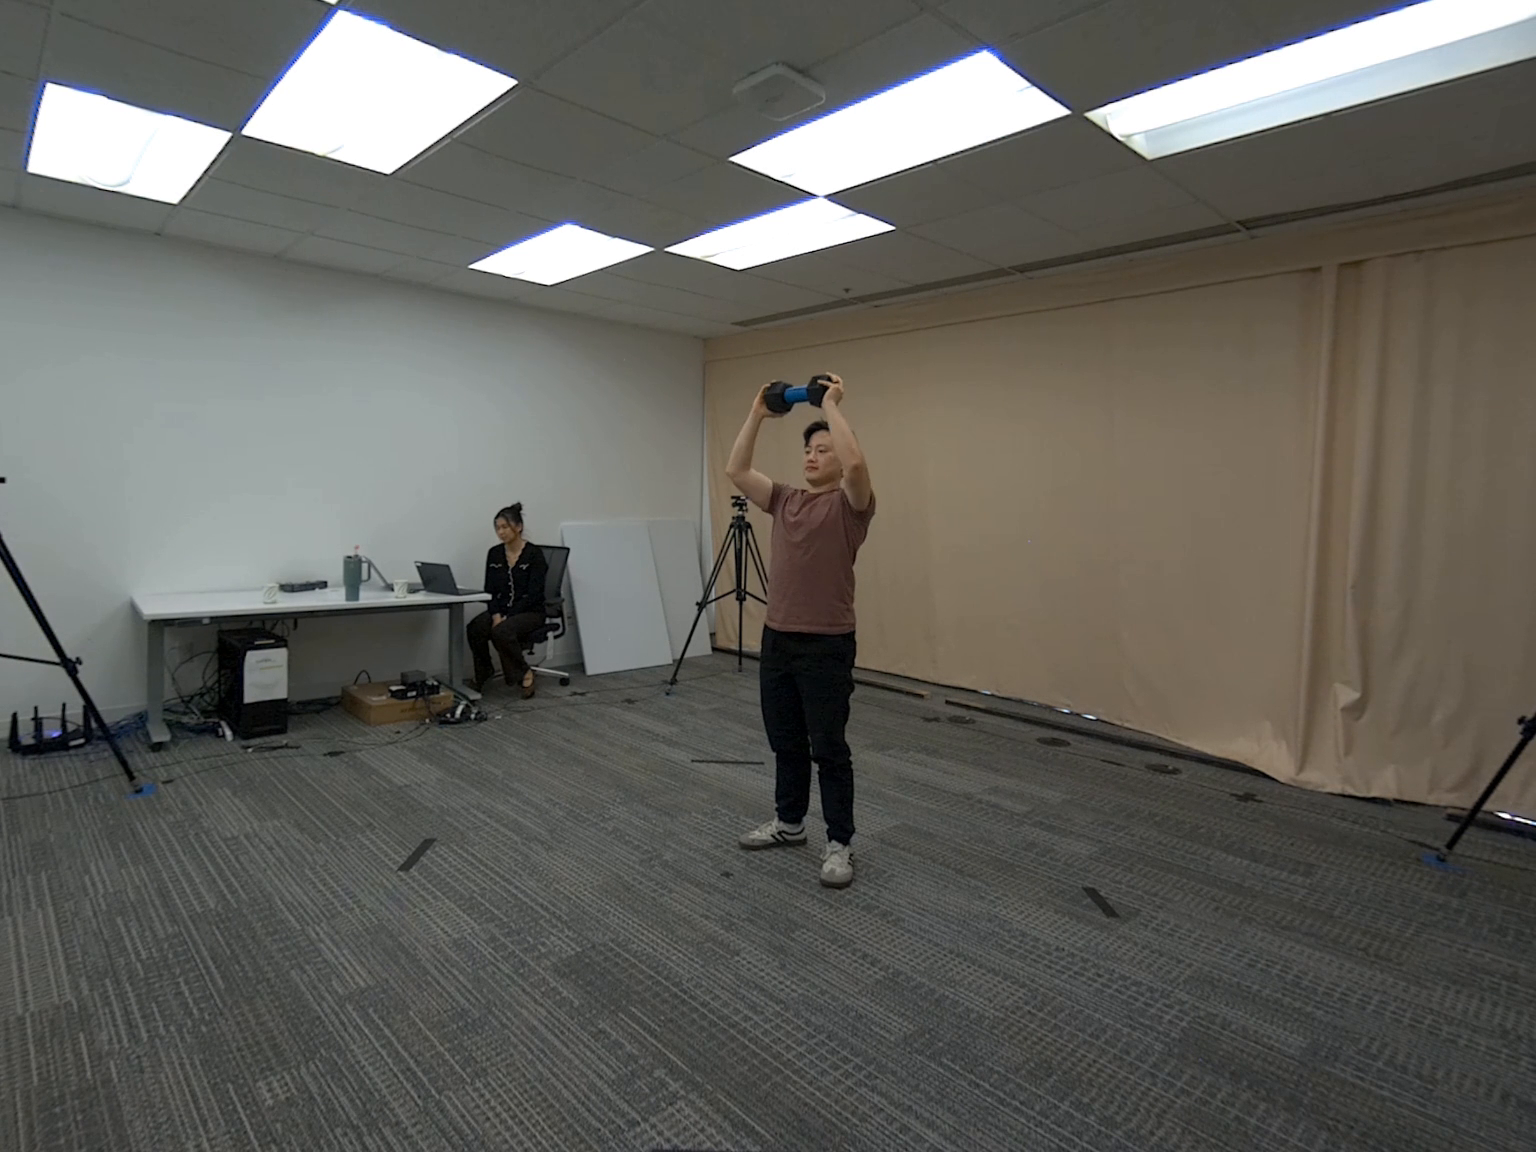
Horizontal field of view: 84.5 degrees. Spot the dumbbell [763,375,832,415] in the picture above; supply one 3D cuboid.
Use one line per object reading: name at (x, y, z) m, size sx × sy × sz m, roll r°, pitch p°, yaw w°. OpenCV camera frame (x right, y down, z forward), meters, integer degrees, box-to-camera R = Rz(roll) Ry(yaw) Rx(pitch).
dumbbell at (0.118, -0.677, 3.132) m, size 0.301 × 0.124 × 0.105 m, roll 3°, pitch -35°, yaw 44°
